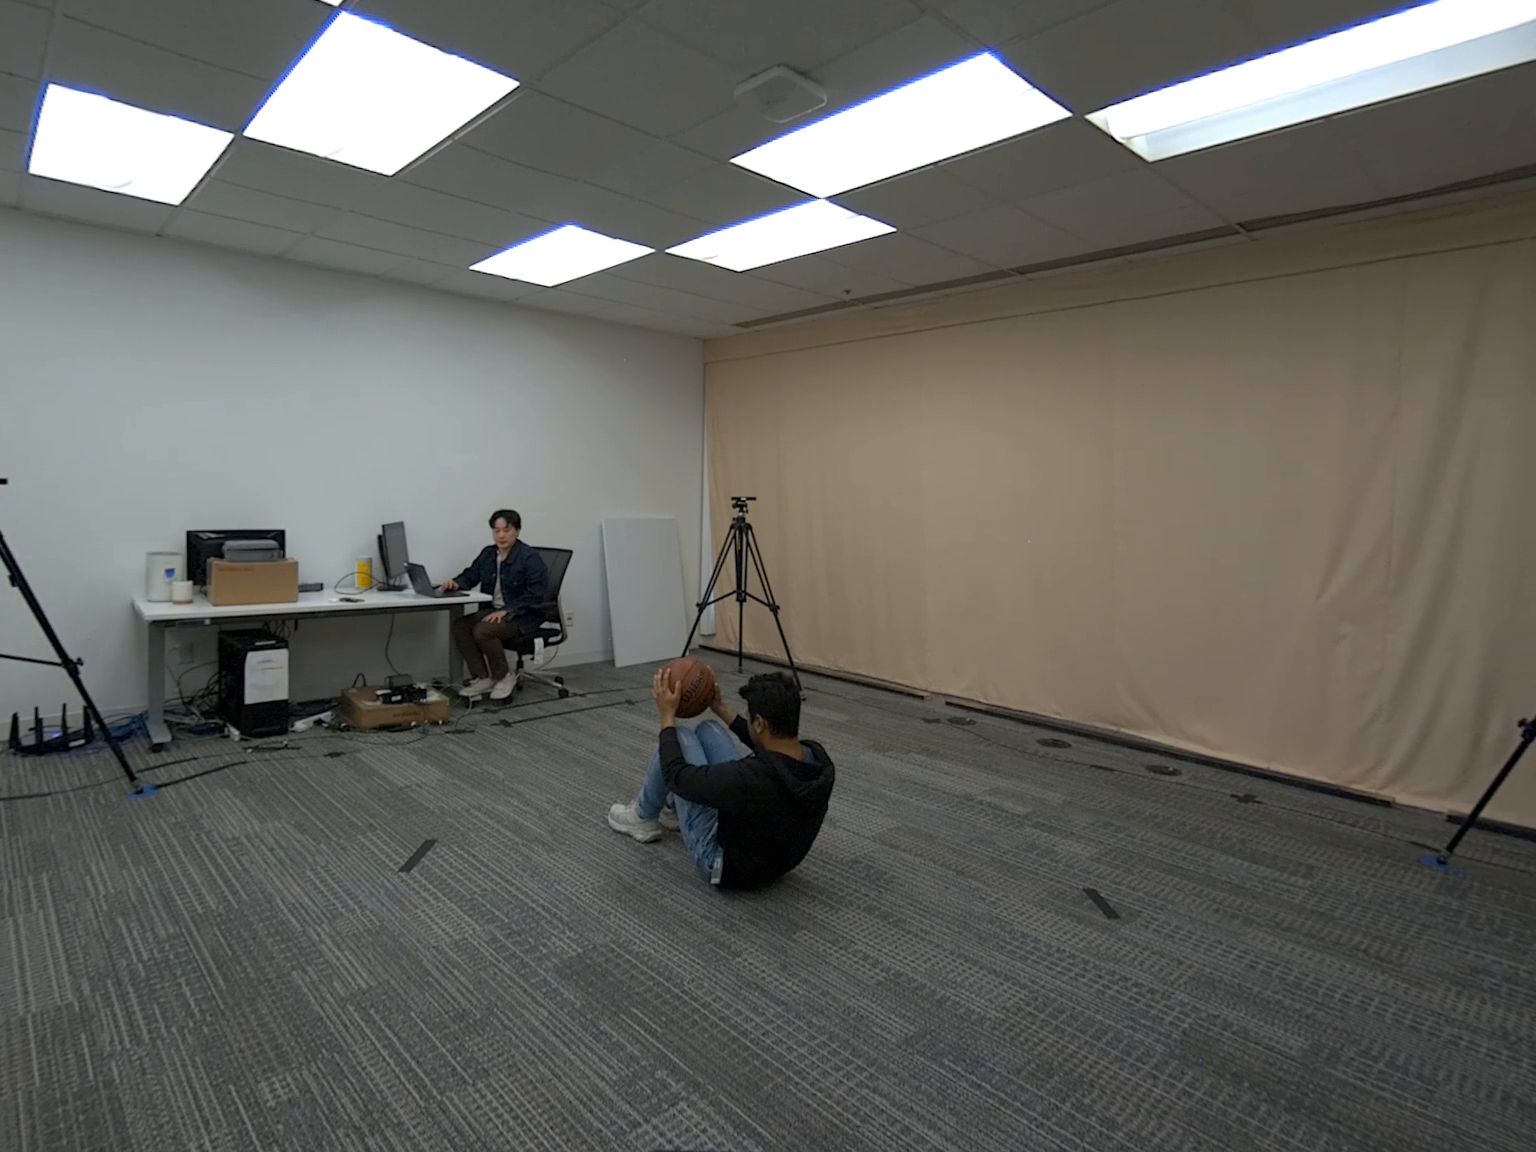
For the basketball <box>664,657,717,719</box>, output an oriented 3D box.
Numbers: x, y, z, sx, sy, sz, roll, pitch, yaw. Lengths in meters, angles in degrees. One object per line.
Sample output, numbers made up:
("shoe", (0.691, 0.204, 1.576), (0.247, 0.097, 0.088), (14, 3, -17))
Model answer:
("basketball", (-0.336, 0.447, 3.327), (0.236, 0.235, 0.237), (1, 4, -1))
